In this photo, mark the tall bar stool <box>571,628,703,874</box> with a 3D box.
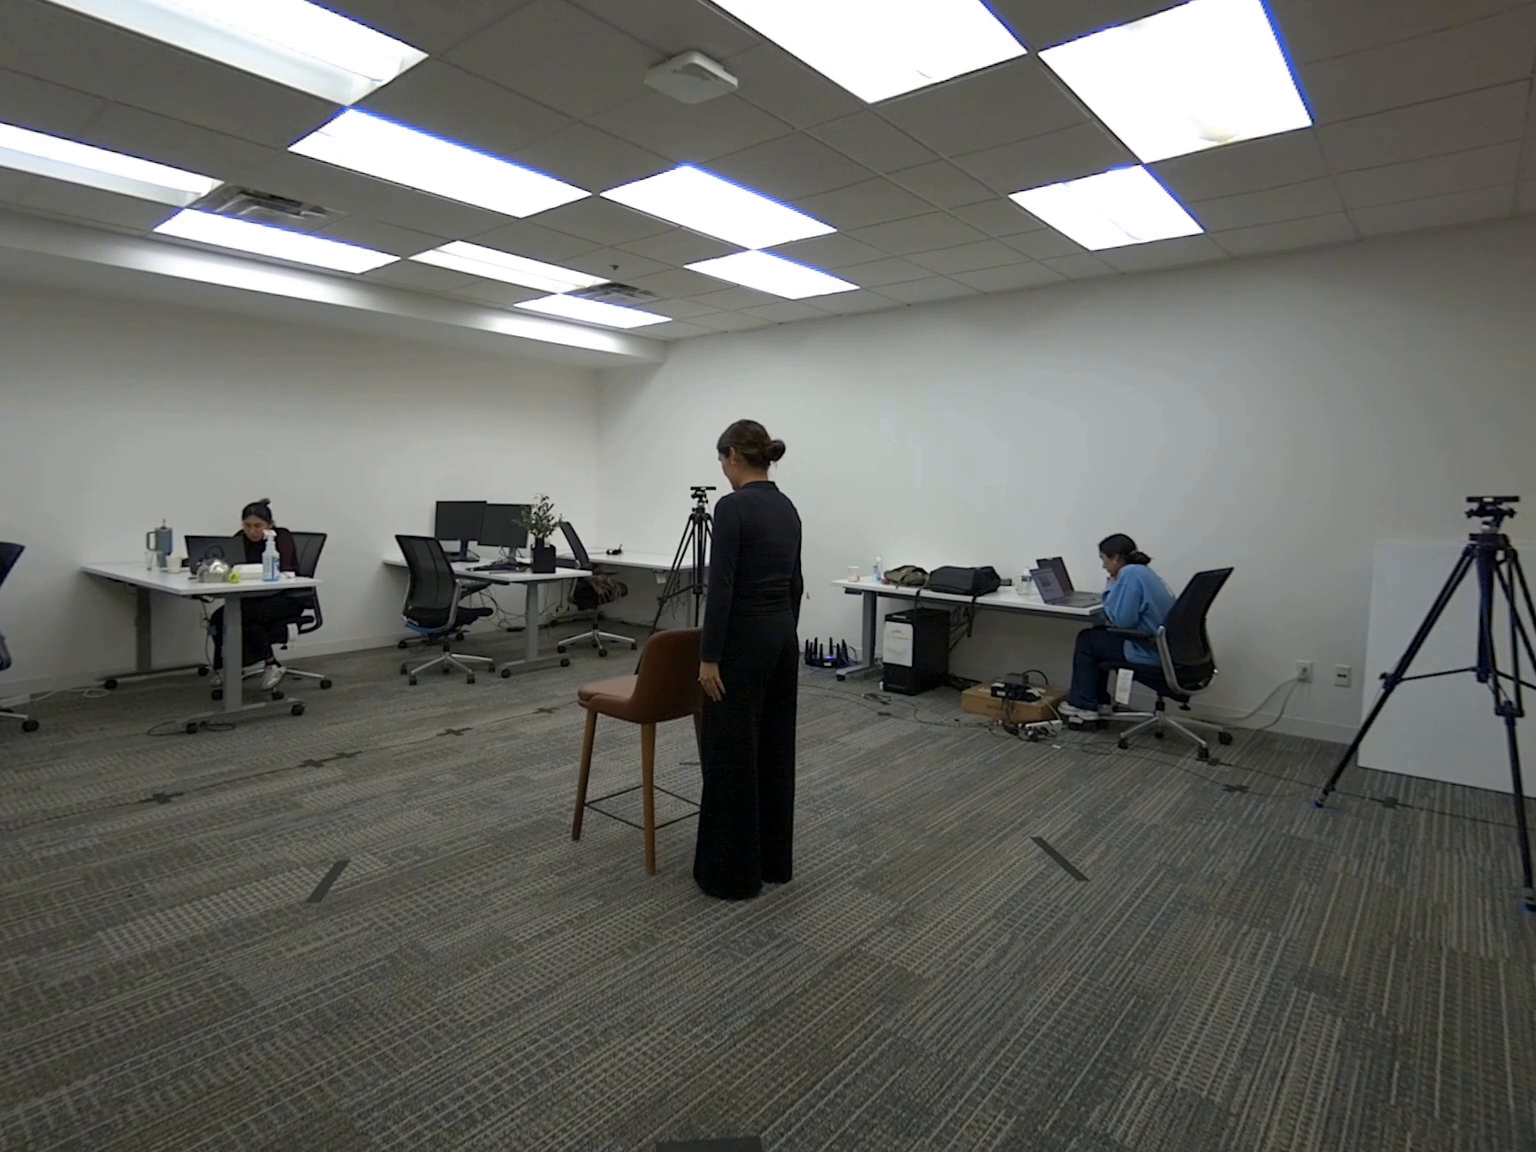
[{"bbox_3d":[-0.469,0.604,3.306,0.484,0.886,0.442,6,6,42],"label":"tall bar stool"}]
